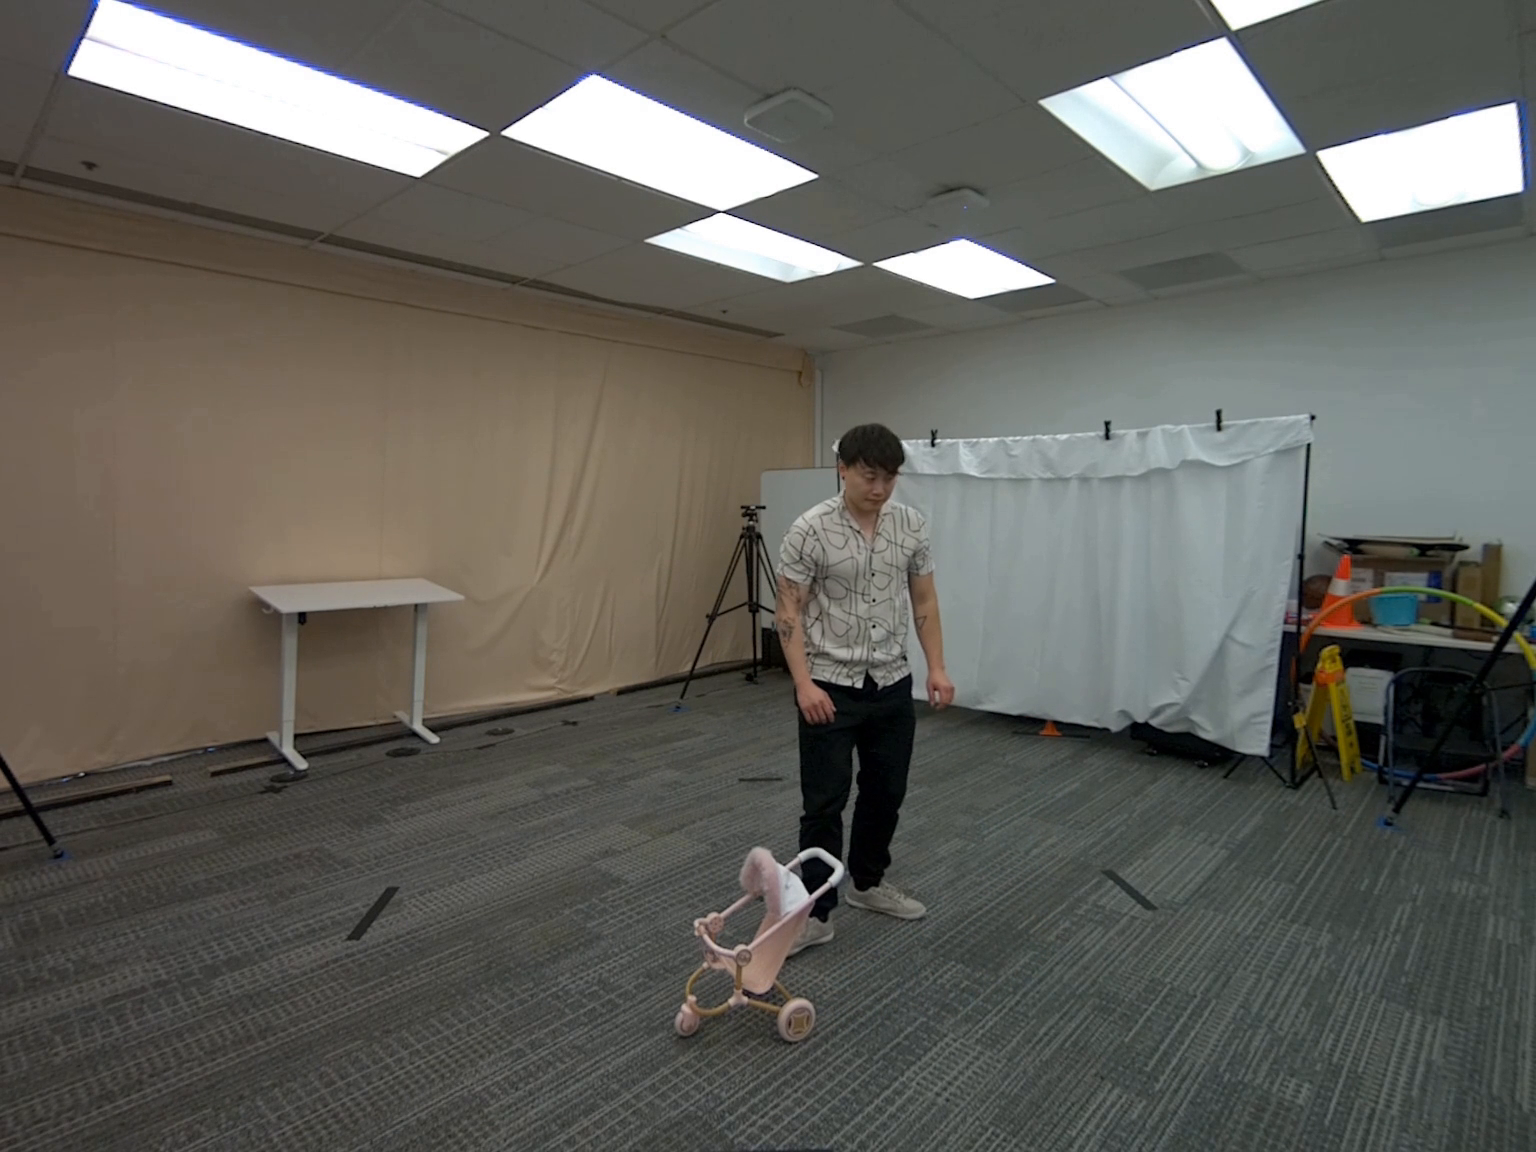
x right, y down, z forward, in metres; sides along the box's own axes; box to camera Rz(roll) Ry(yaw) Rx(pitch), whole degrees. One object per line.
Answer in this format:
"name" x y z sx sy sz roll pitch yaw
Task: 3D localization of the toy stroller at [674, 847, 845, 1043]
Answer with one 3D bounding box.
"toy stroller" -0.031 0.982 2.276 0.334 0.535 0.287 18 -3 -19
